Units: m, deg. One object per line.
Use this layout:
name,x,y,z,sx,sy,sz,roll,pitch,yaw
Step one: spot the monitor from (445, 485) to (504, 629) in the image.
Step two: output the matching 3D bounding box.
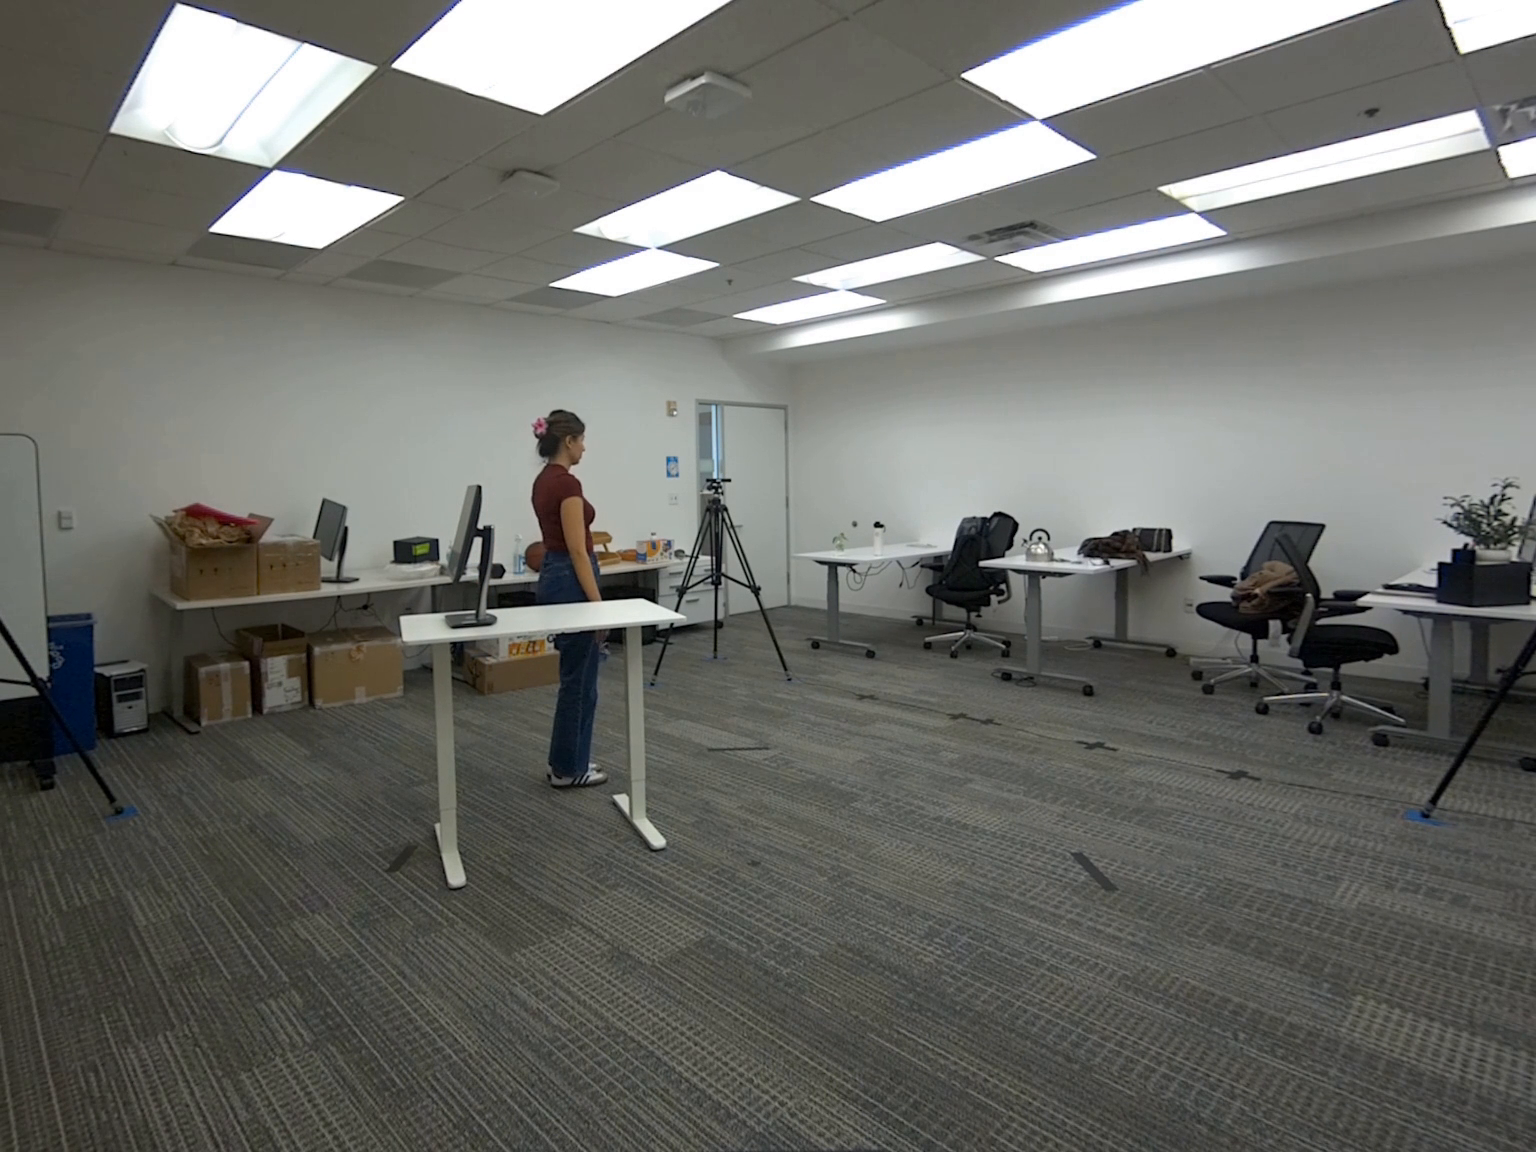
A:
monitor,-1.122,-0.076,3.217,0.183,0.521,0.552,1,3,-24
